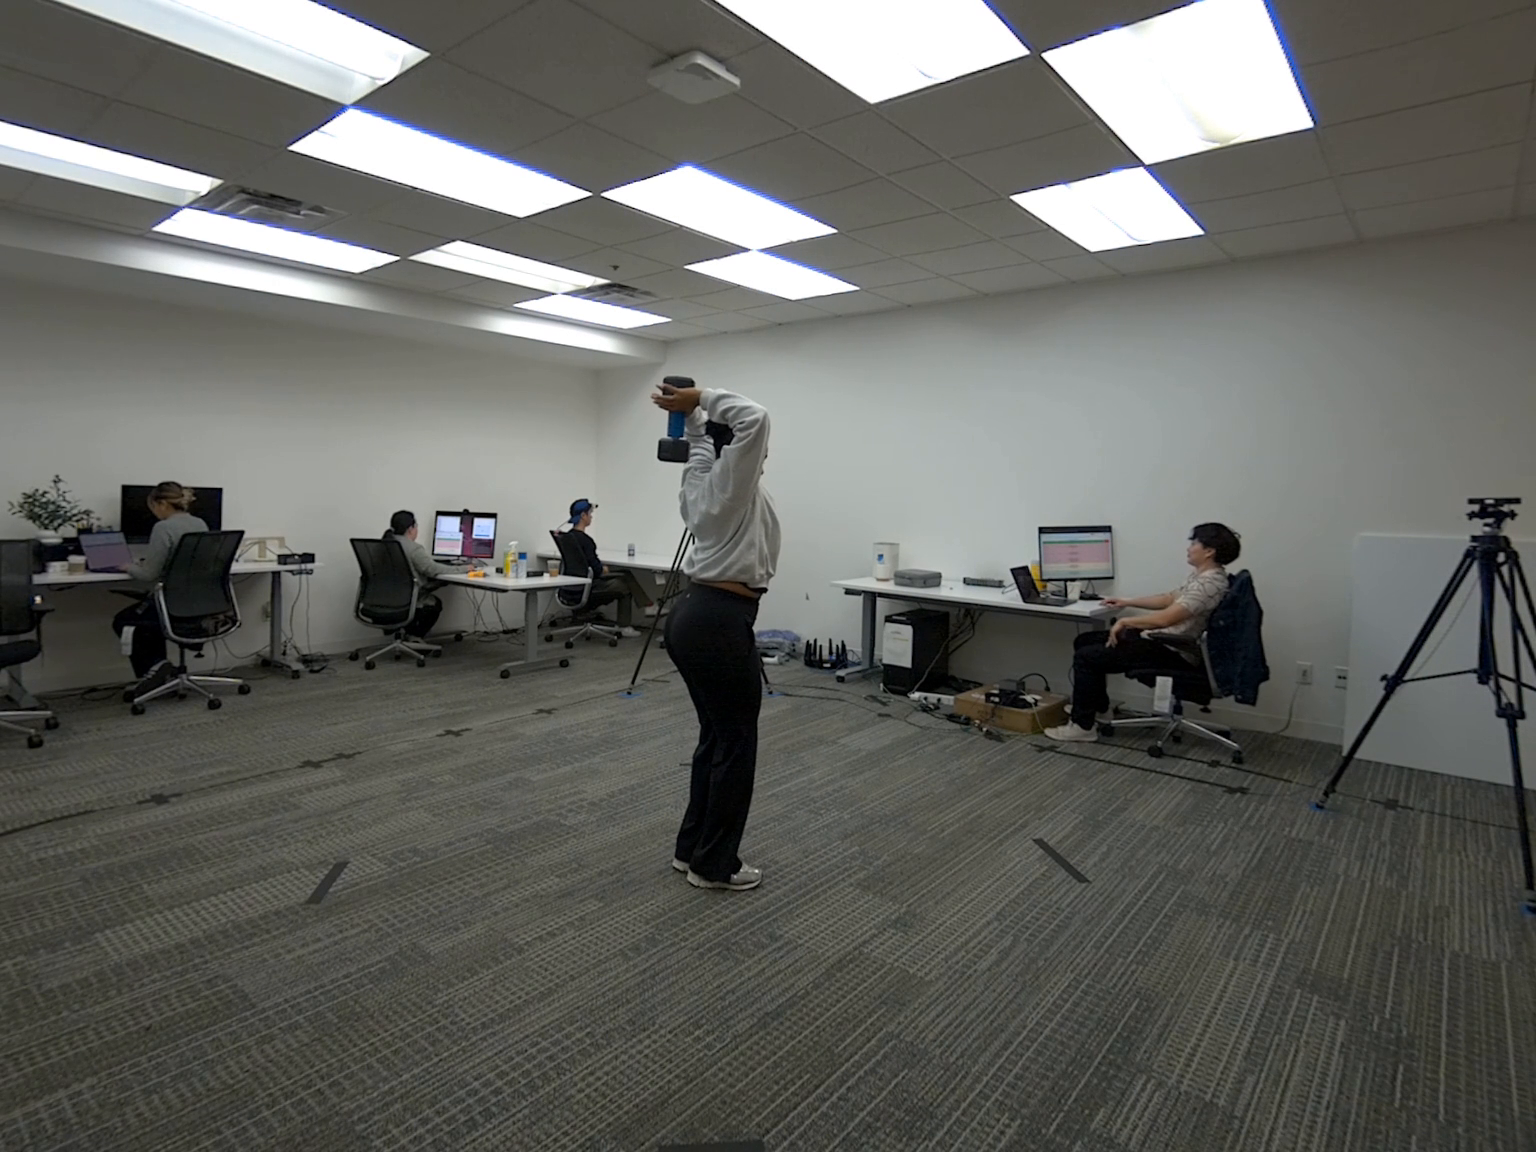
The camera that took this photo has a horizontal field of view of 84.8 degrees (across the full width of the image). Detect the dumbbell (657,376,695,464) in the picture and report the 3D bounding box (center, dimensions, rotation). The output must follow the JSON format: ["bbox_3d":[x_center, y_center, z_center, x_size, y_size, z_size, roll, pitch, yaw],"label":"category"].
[{"bbox_3d":[-0.332,-0.551,2.950,0.127,0.294,0.105,3,-1,33],"label":"dumbbell"}]
